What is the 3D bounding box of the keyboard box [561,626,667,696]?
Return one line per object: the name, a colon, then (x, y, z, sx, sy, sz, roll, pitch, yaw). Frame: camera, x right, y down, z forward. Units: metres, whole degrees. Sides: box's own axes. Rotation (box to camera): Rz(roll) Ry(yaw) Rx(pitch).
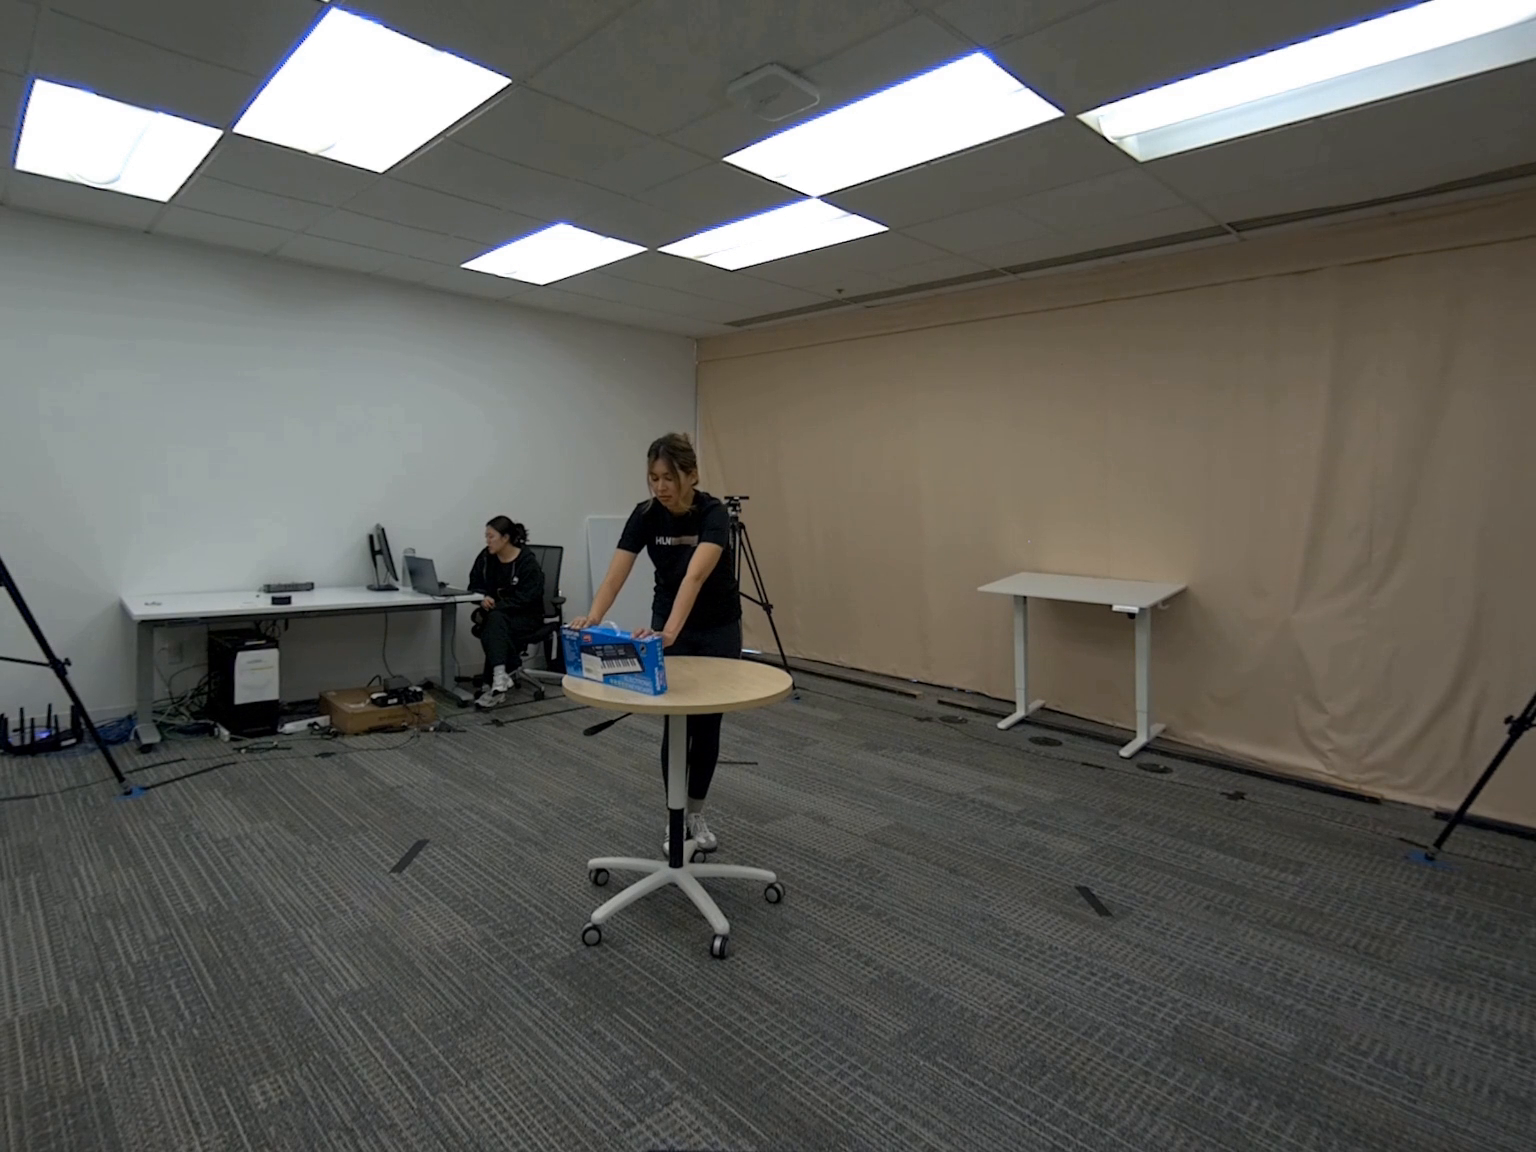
keyboard box: (-0.513, 0.266, 2.704, 0.448, 0.174, 0.058, 5, 14, 41)
